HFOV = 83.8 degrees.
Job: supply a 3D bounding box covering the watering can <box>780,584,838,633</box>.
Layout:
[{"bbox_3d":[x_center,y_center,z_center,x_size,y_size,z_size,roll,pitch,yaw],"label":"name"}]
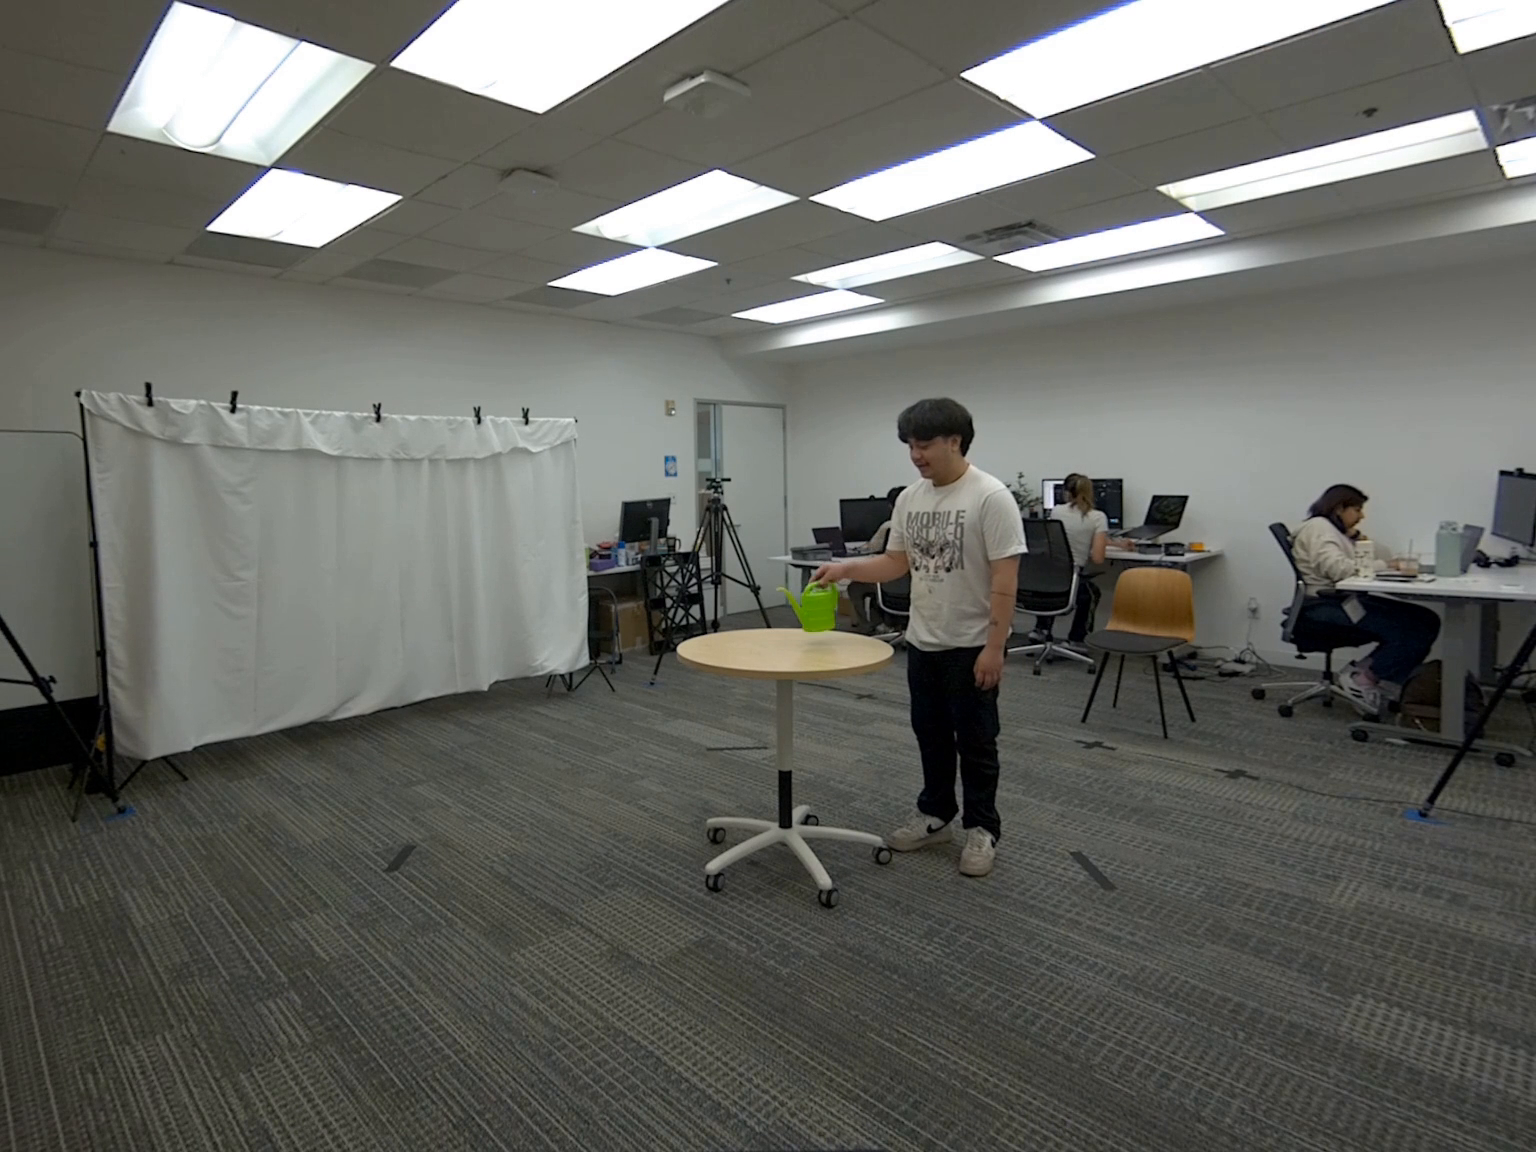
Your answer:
[{"bbox_3d":[0.148,0.112,3.074,0.273,0.177,0.100,-5,1,-24],"label":"watering can"}]
